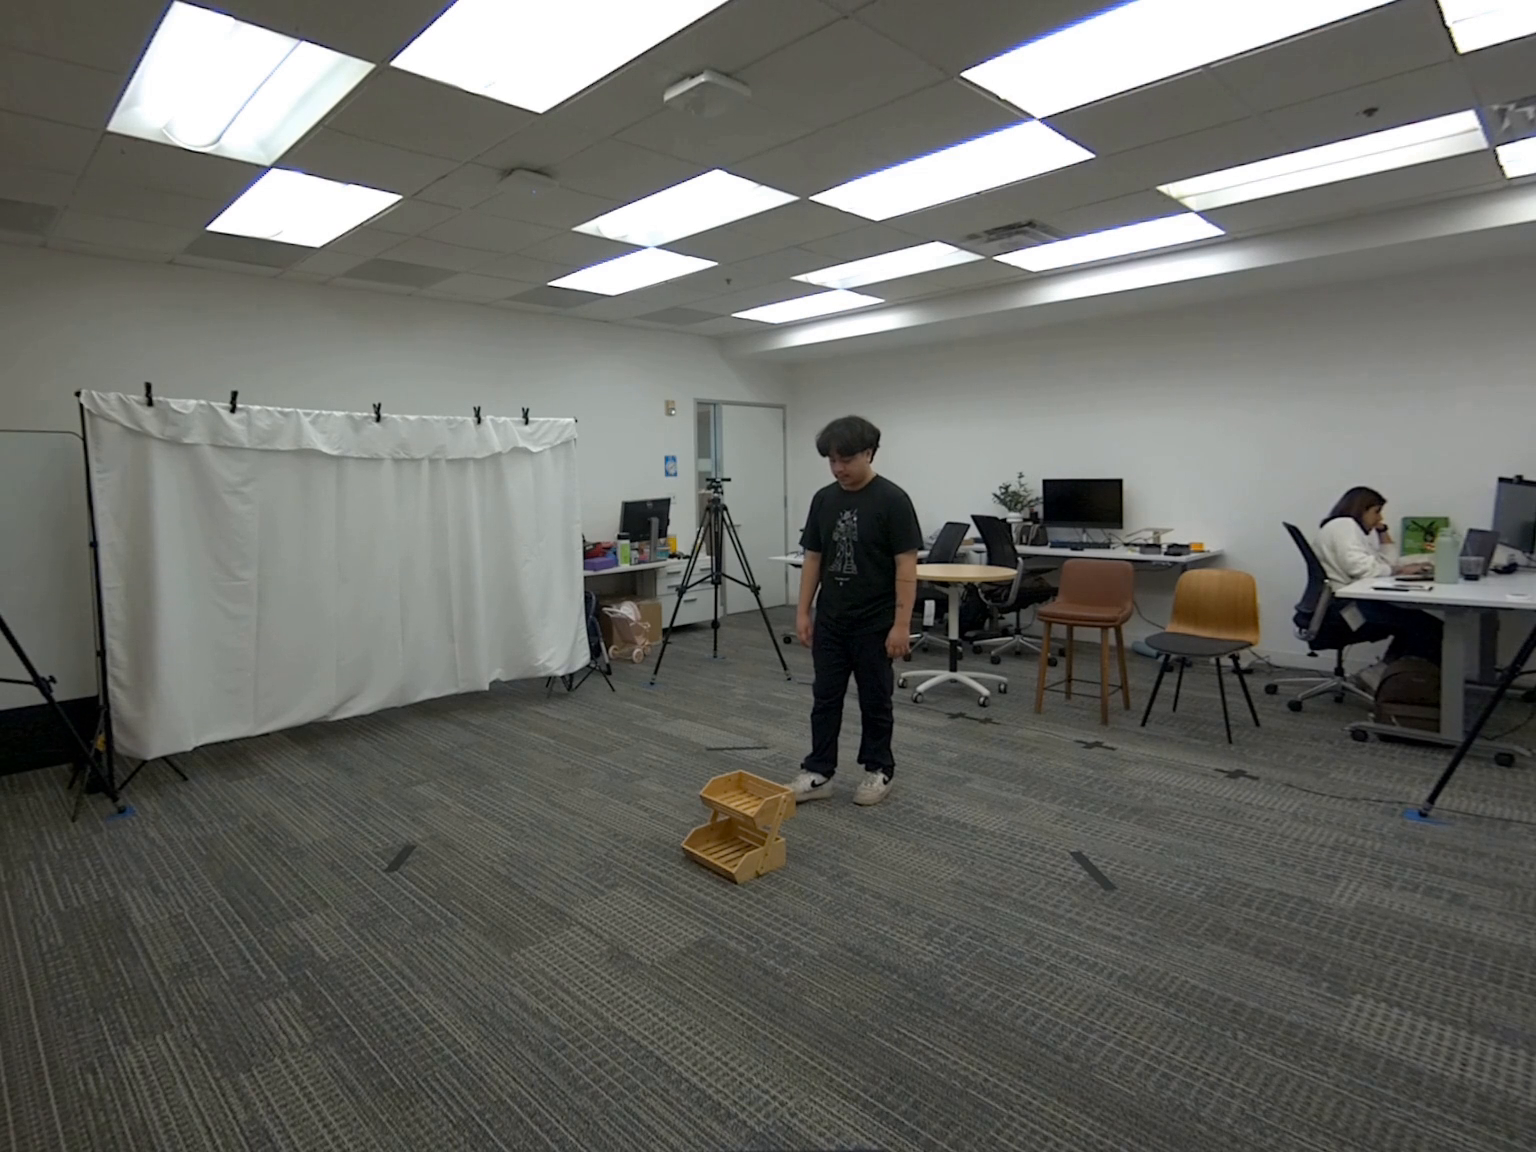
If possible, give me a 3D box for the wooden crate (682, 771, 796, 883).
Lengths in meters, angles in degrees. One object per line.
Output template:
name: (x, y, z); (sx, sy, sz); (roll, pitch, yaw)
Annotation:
wooden crate: (-0.111, 0.905, 3.133); (0.294, 0.272, 0.334); (-4, 6, -42)
